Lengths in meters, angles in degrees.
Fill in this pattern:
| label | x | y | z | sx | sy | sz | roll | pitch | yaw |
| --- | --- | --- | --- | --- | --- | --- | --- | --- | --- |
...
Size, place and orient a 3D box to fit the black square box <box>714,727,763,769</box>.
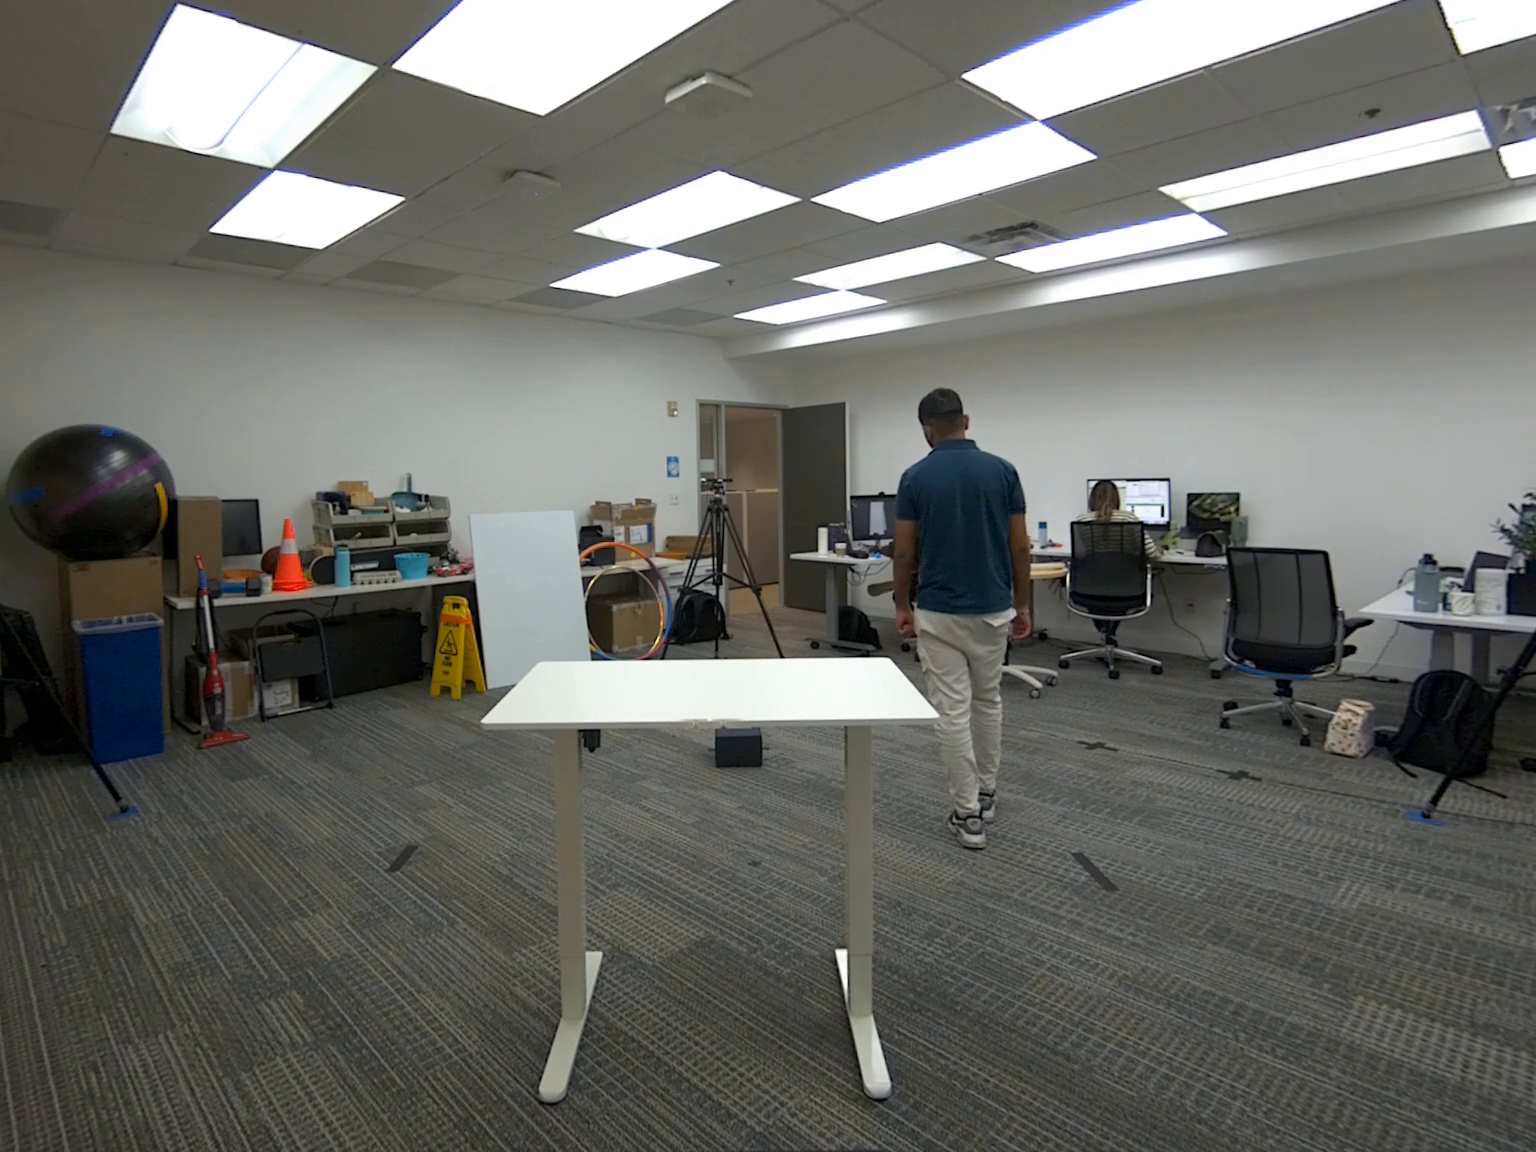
| label | x | y | z | sx | sy | sz | roll | pitch | yaw |
| --- | --- | --- | --- | --- | --- | --- | --- | --- | --- |
| black square box | -0.149 | 0.836 | 4.259 | 0.227 | 0.155 | 0.218 | -1 | 6 | -2 |
